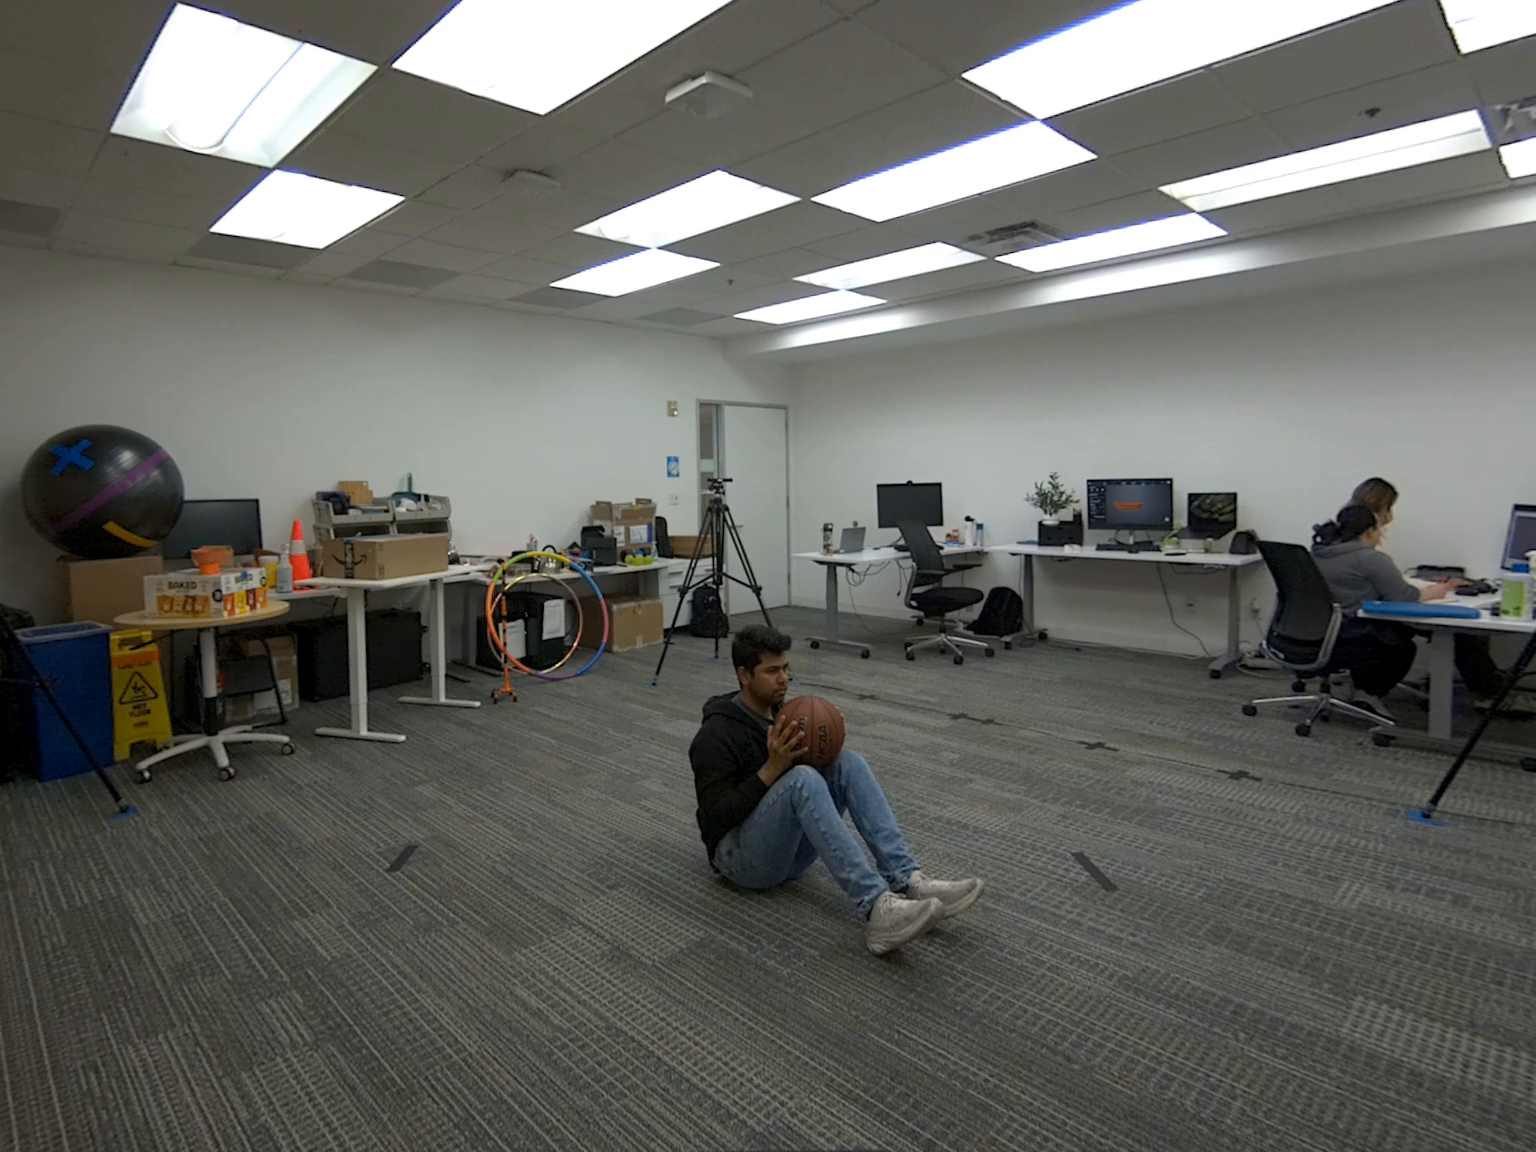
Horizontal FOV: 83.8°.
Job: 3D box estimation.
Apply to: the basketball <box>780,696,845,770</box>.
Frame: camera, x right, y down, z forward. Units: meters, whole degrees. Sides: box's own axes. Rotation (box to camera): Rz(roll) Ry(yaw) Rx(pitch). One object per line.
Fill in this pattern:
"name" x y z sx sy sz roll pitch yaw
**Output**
"basketball" 0.132 0.514 2.854 0.236 0.235 0.237 -1 5 -2
